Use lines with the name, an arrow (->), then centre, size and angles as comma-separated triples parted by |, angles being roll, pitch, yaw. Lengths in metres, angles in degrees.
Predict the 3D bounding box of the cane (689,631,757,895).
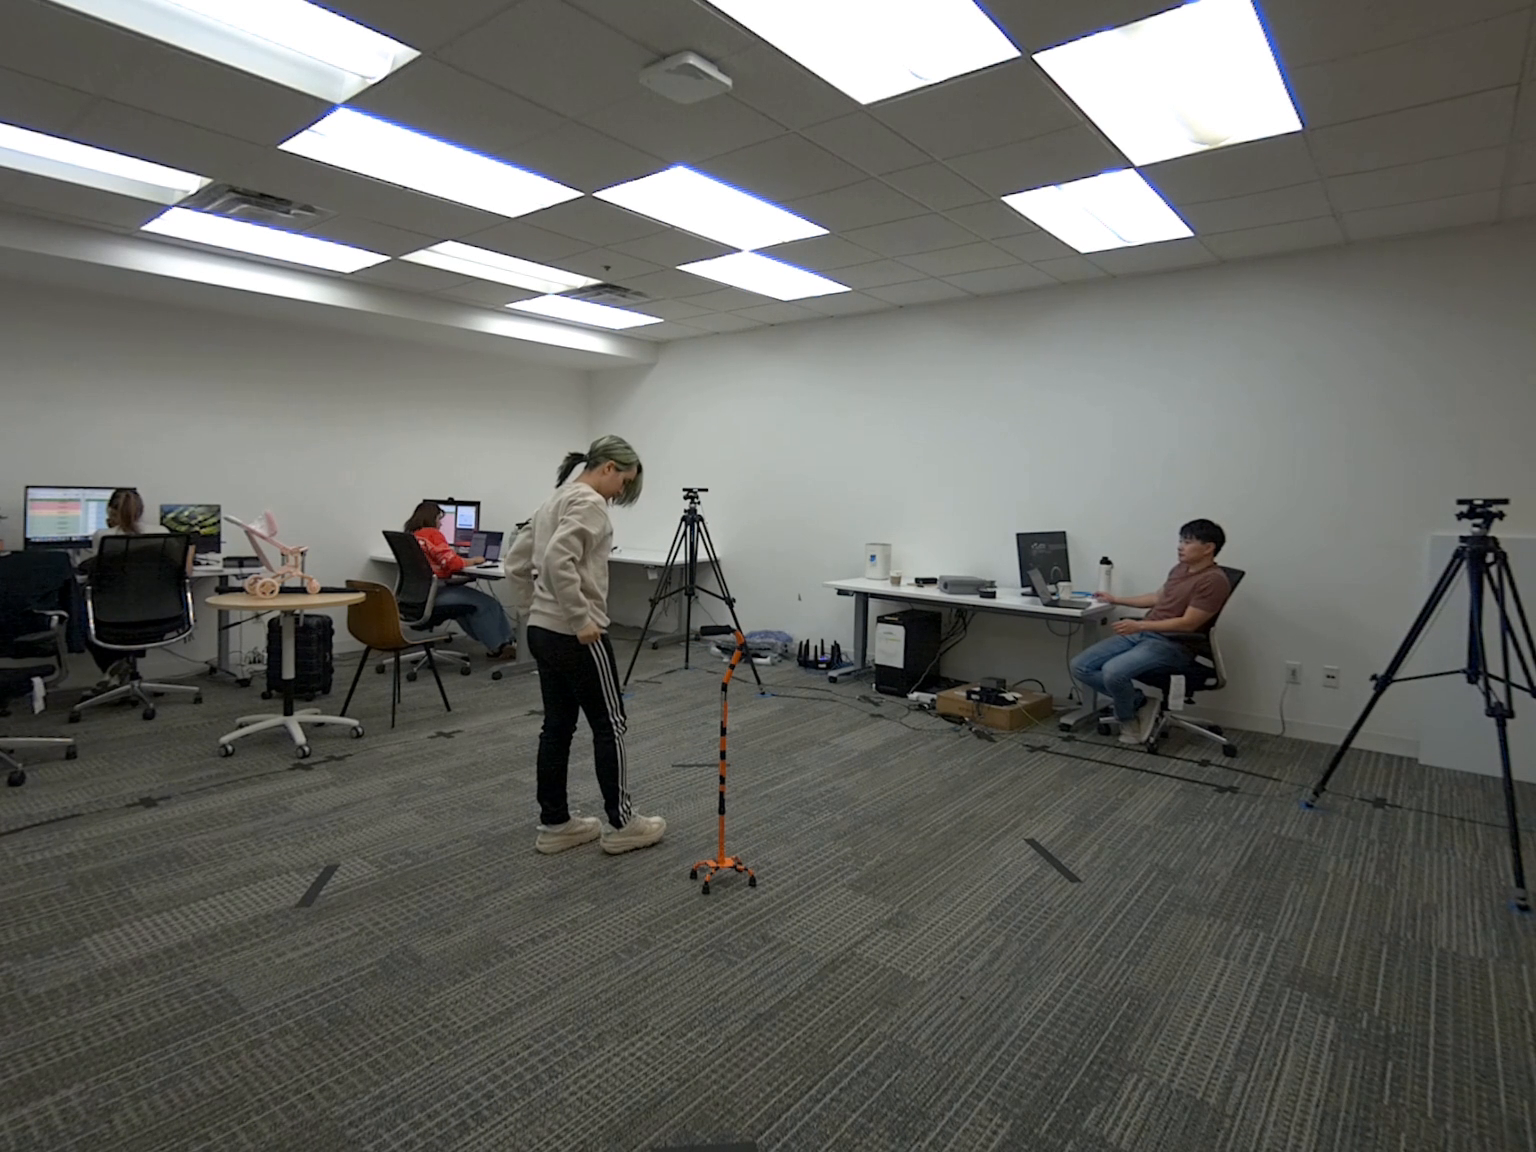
cane -> -0.162, 0.631, 2.991 | 0.202, 0.905, 0.155 | 0, 3, -22
